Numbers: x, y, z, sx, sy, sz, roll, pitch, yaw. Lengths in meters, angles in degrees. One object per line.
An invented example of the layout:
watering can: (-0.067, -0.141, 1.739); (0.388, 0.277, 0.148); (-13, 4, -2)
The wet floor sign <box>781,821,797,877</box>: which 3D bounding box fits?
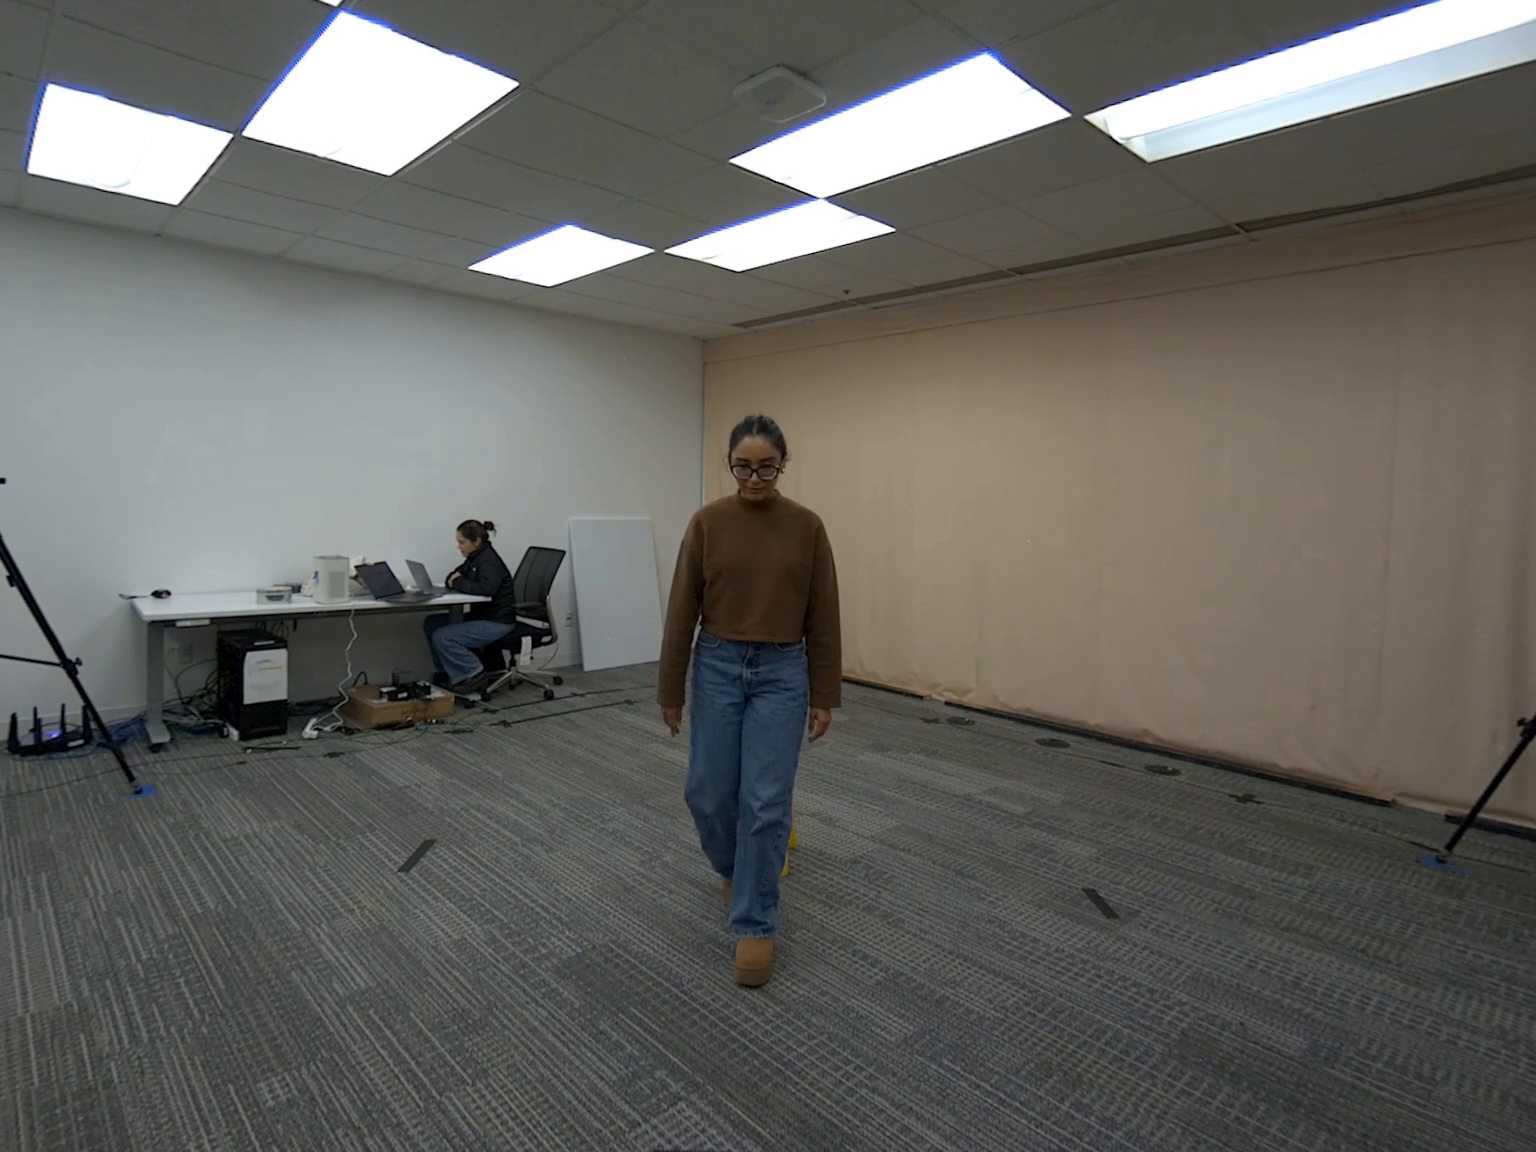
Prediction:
wet floor sign: (-0.051, 0.781, 3.256); (0.285, 0.645, 0.288); (3, 3, 9)
